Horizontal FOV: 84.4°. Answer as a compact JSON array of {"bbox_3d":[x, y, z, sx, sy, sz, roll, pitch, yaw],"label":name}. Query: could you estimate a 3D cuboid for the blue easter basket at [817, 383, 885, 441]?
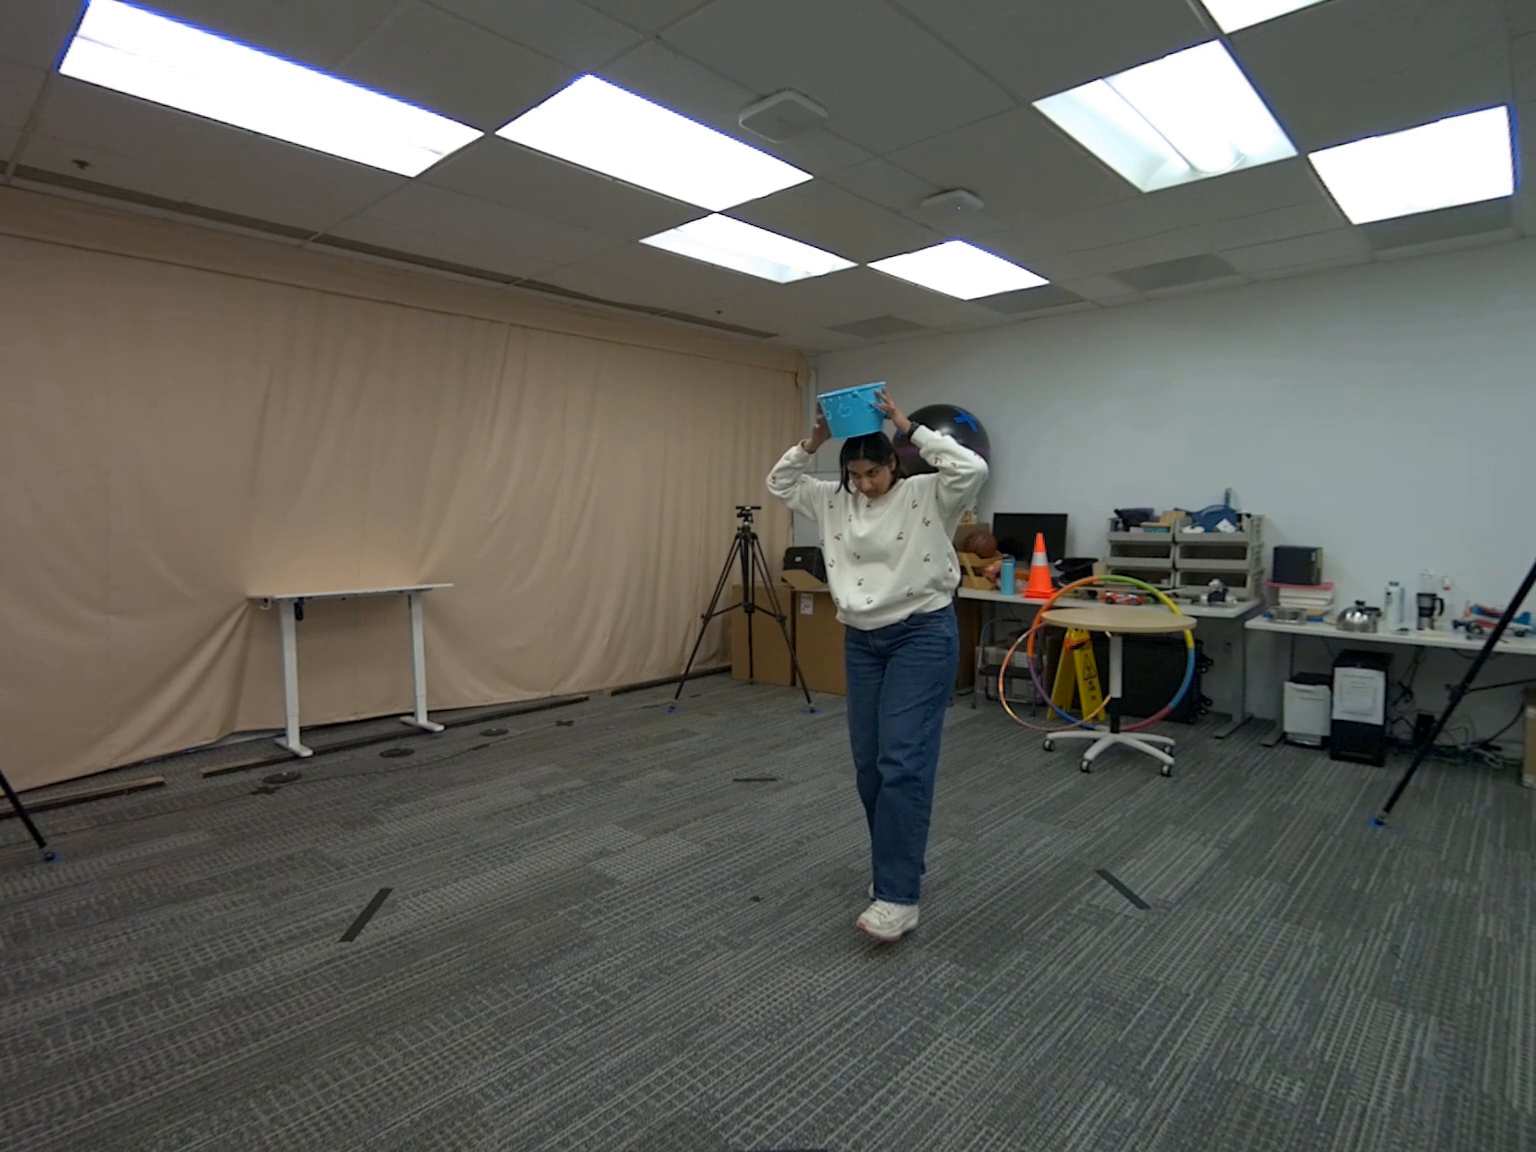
[{"bbox_3d":[0.304,-0.560,2.853,0.244,0.154,0.246,-14,13,1],"label":"blue easter basket"}]
